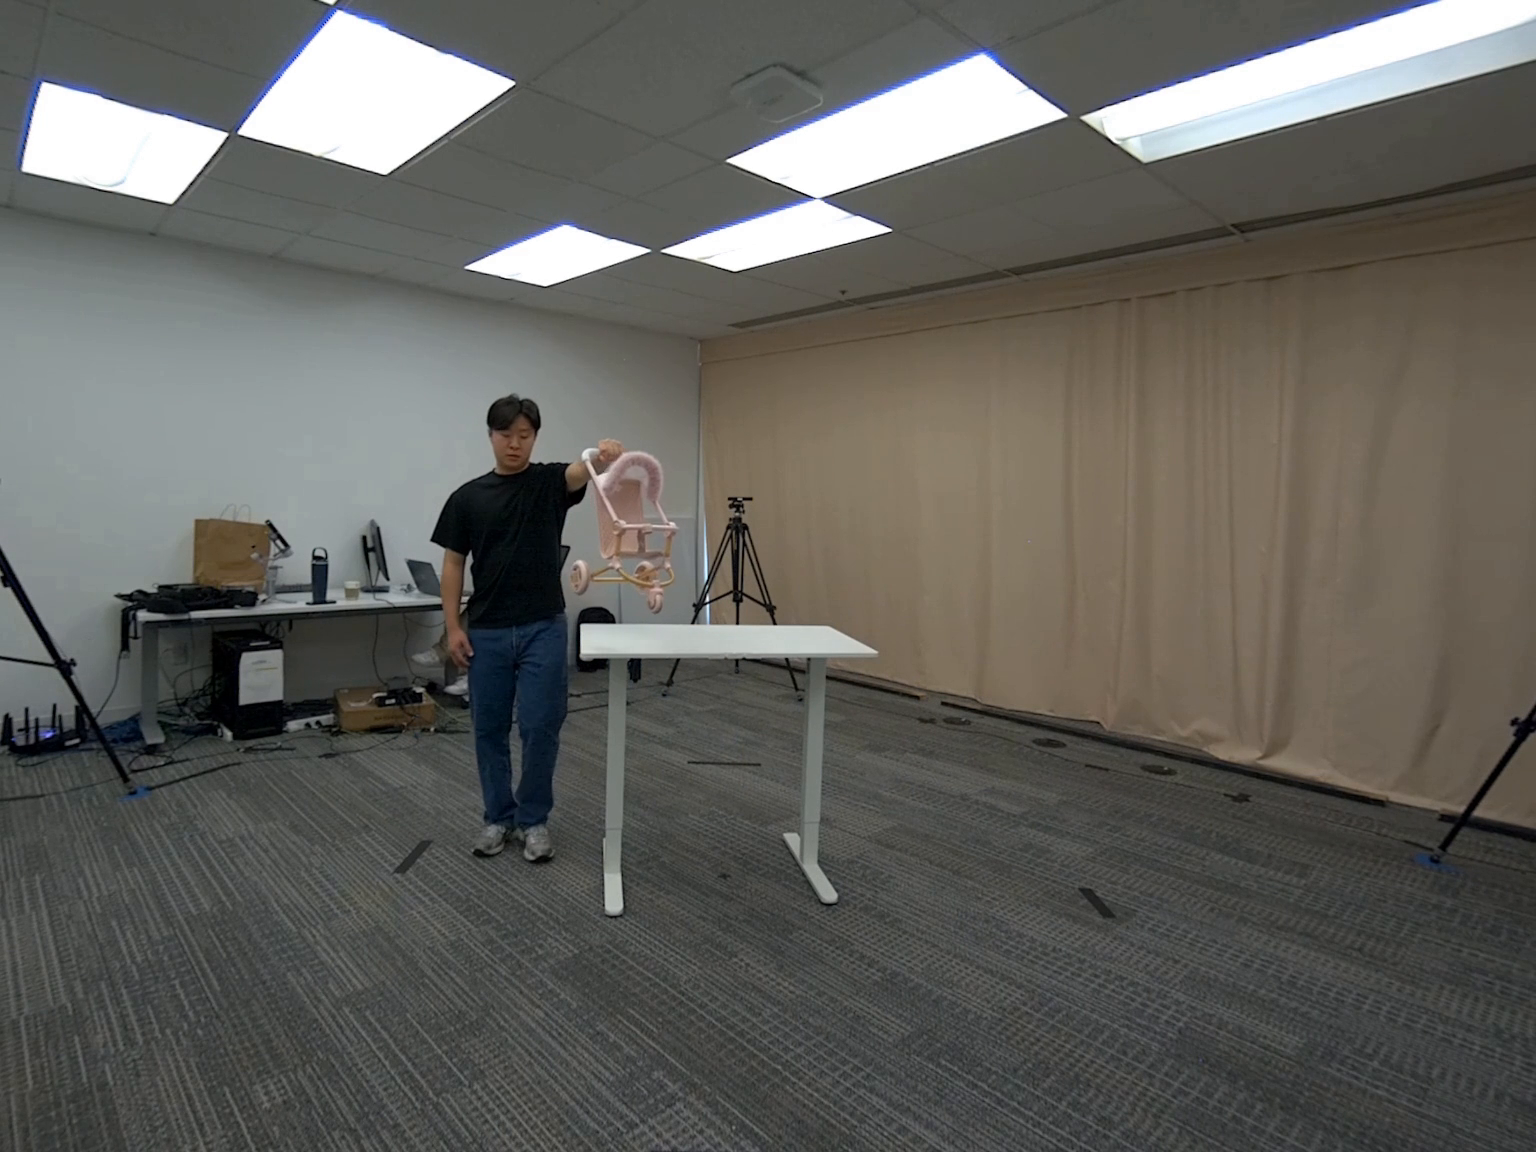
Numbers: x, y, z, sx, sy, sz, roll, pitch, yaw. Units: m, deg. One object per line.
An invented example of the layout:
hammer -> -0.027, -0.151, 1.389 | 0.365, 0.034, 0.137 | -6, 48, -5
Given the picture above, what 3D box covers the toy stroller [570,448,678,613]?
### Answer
toy stroller -> -0.434, -0.145, 2.649 | 0.275, 0.536, 0.349 | 2, -3, -38
